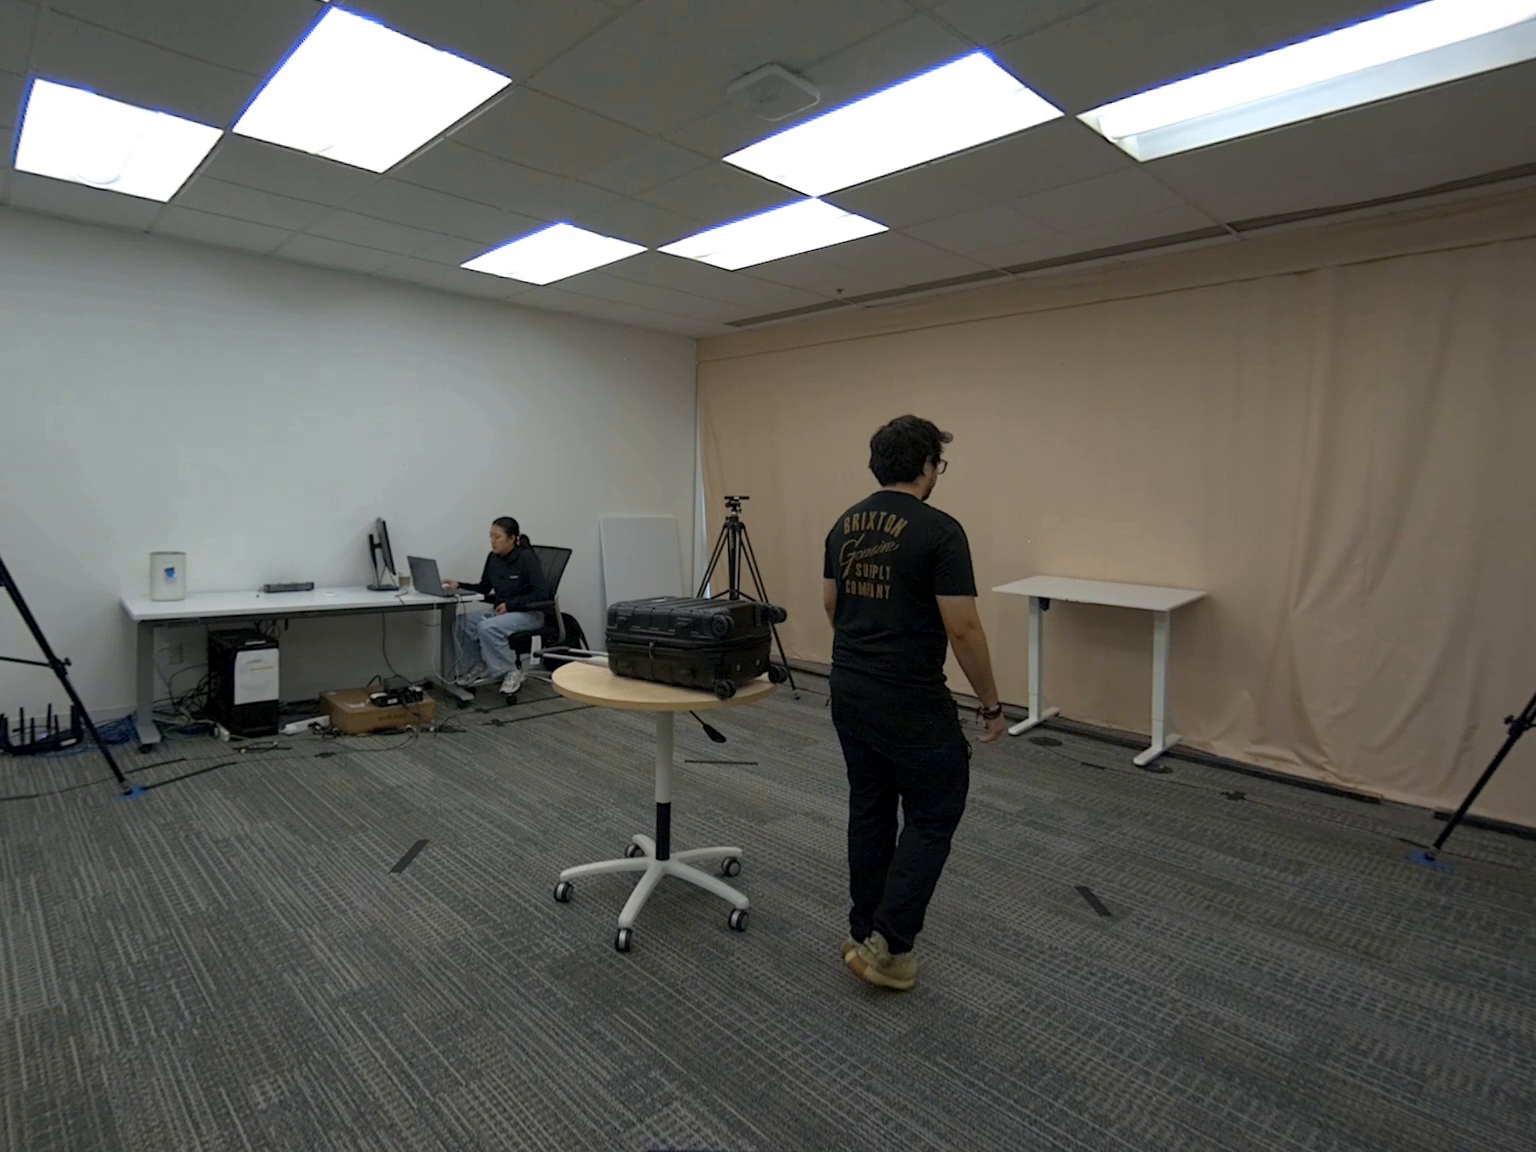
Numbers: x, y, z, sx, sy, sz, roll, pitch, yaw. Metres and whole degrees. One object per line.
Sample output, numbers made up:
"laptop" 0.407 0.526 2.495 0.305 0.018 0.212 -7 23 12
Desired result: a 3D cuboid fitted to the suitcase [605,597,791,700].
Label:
"suitcase" -0.428 0.204 2.938 1.002 0.256 0.376 5 8 36
